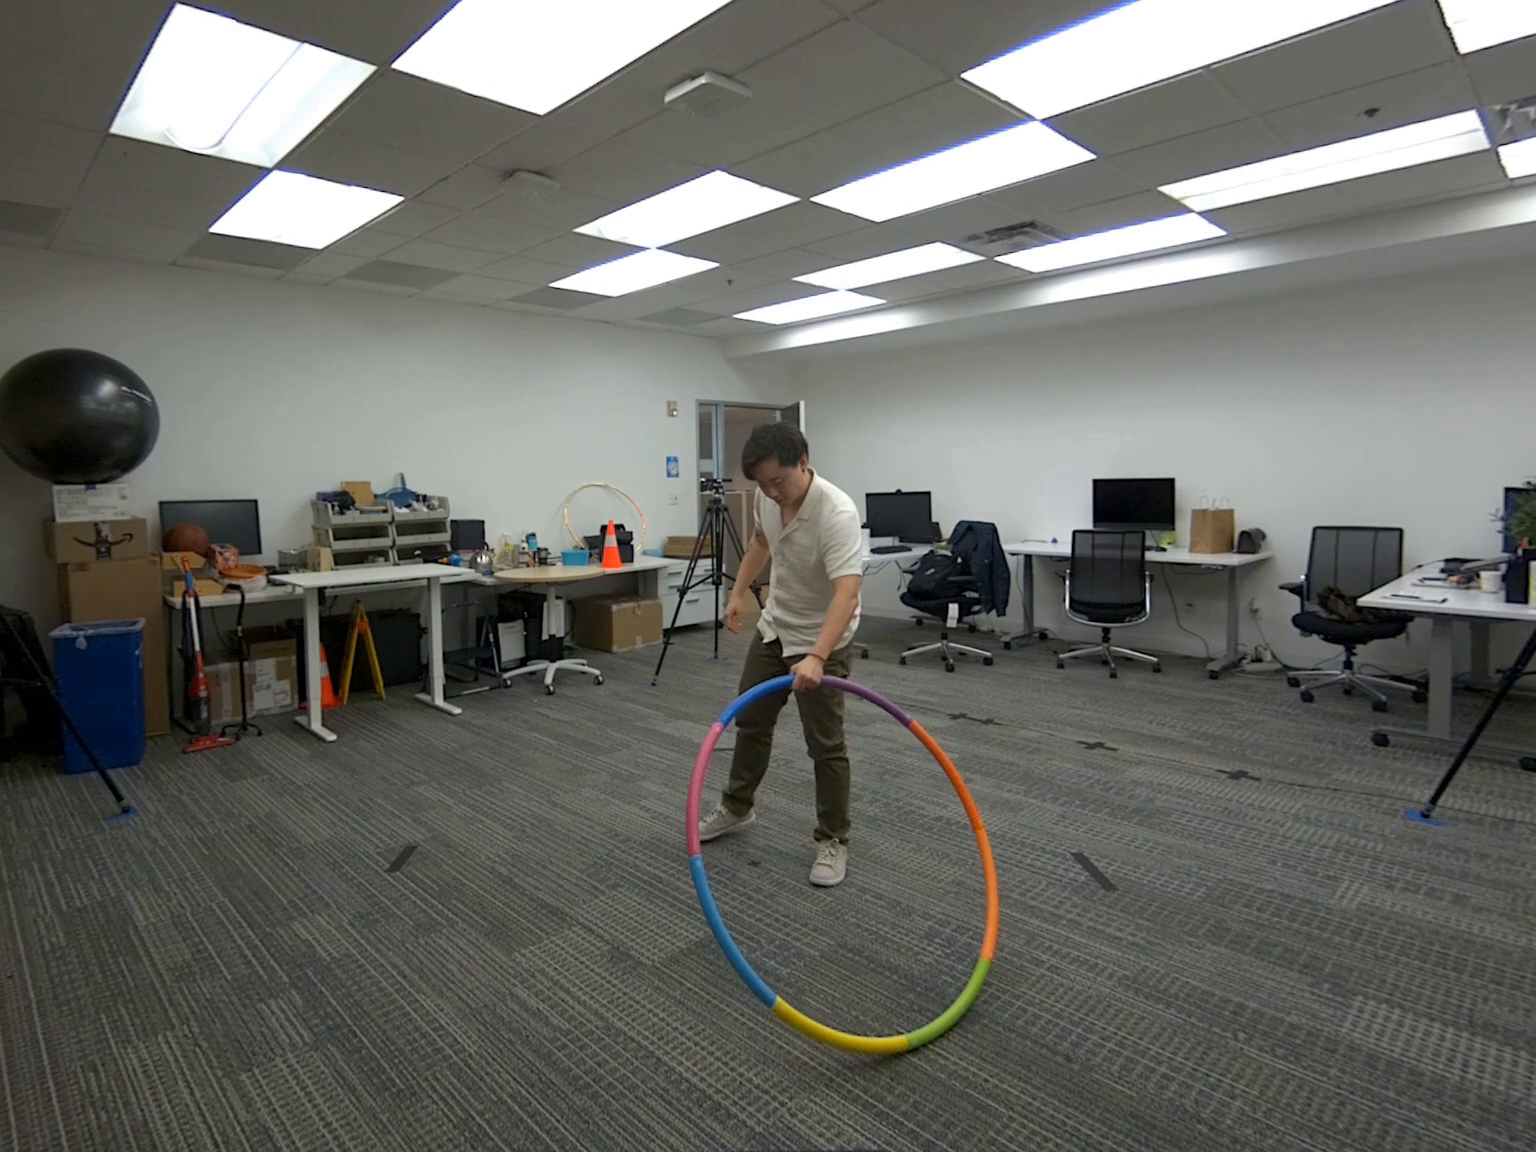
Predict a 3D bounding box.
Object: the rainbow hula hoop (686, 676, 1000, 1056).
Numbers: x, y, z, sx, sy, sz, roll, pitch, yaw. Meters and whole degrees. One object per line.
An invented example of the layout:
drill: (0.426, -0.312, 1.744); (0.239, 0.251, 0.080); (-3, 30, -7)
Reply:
rainbow hula hoop: (0.231, 0.721, 2.332); (0.954, 1.006, 0.035); (-5, -31, -34)
